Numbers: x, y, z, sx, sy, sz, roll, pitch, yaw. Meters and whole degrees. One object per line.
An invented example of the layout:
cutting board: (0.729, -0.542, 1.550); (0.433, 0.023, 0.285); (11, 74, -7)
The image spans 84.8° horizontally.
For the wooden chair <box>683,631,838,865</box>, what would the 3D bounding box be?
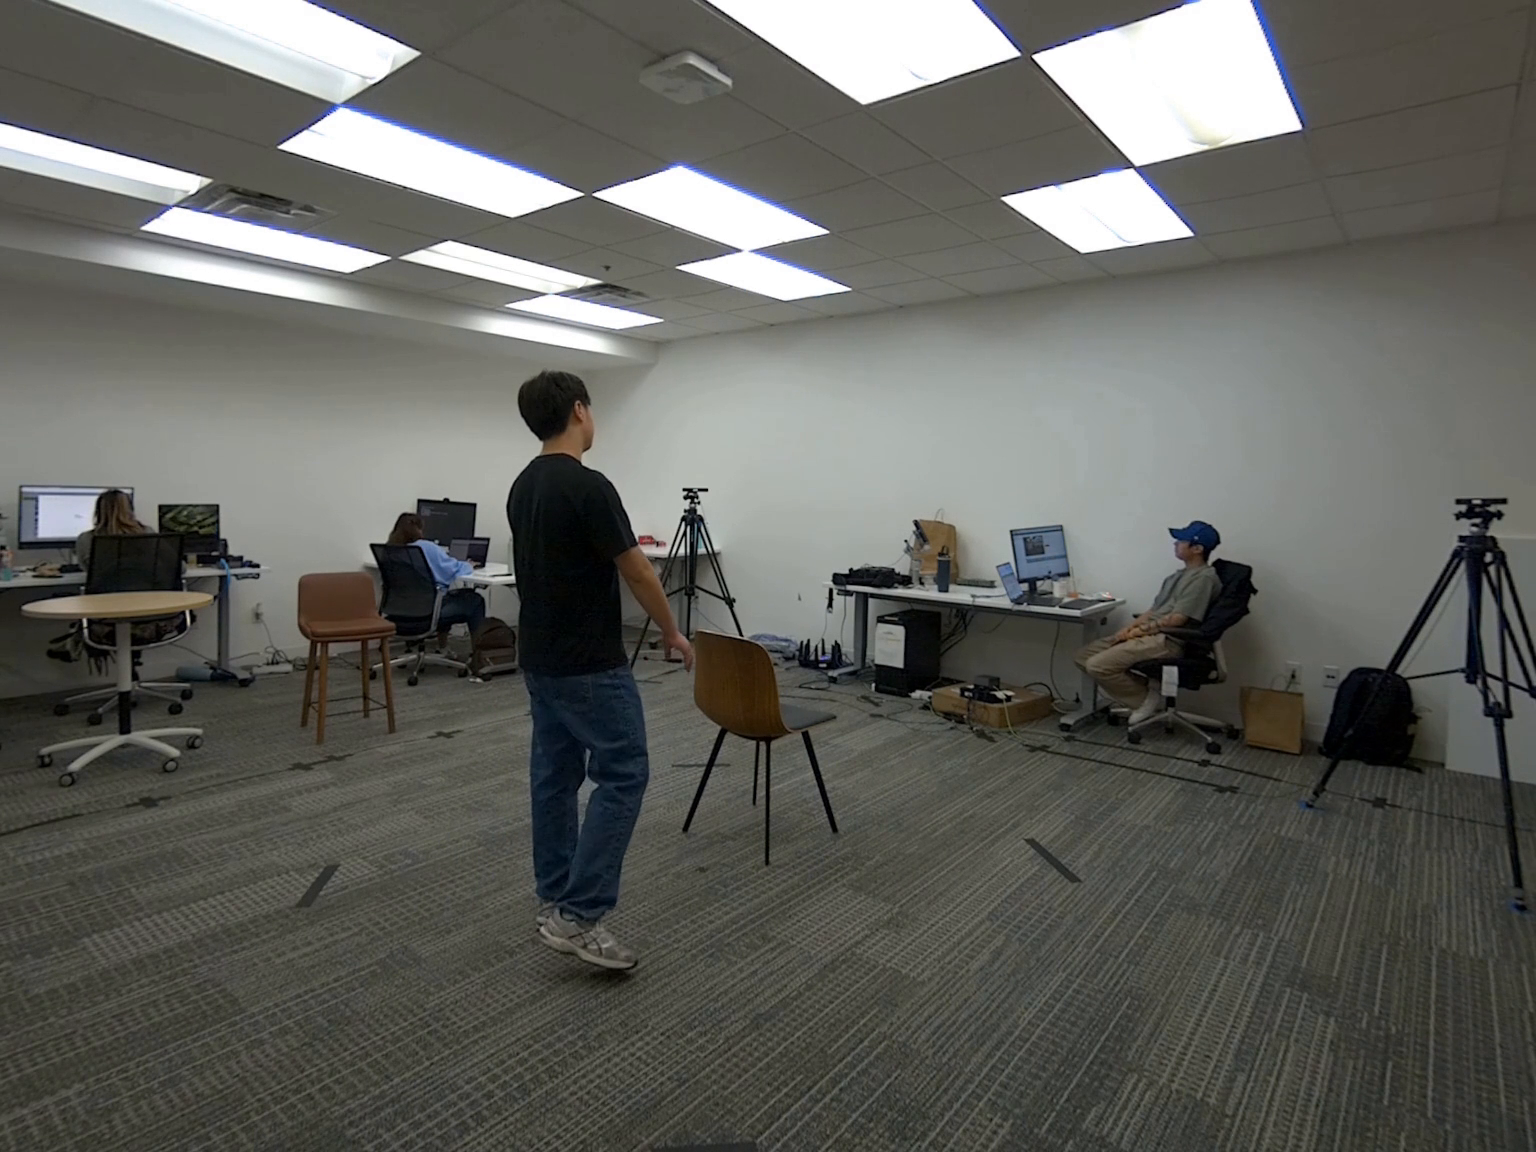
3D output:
wooden chair: (-0.027, 0.612, 3.442); (0.494, 0.872, 0.509); (4, 8, 41)
